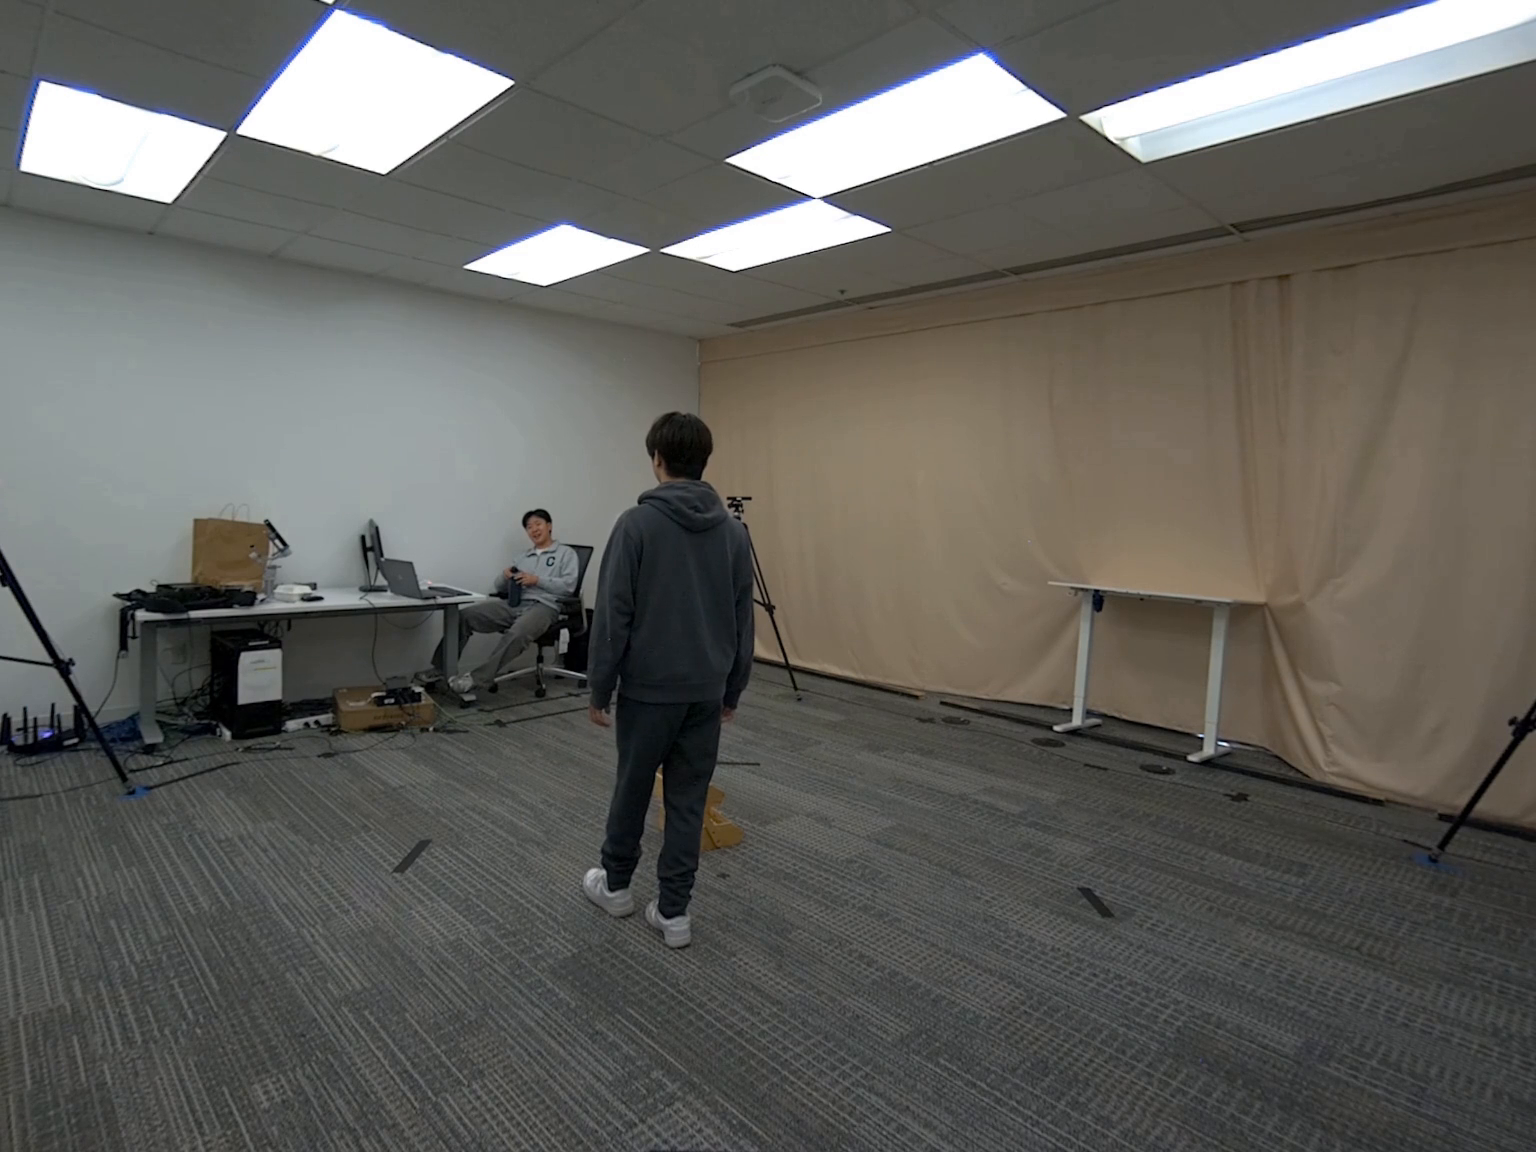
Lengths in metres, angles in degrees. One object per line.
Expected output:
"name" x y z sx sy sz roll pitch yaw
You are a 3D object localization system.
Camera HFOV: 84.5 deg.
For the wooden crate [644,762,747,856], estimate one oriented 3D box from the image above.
"wooden crate" -0.303 0.939 3.464 0.296 0.272 0.332 -1 5 -30
